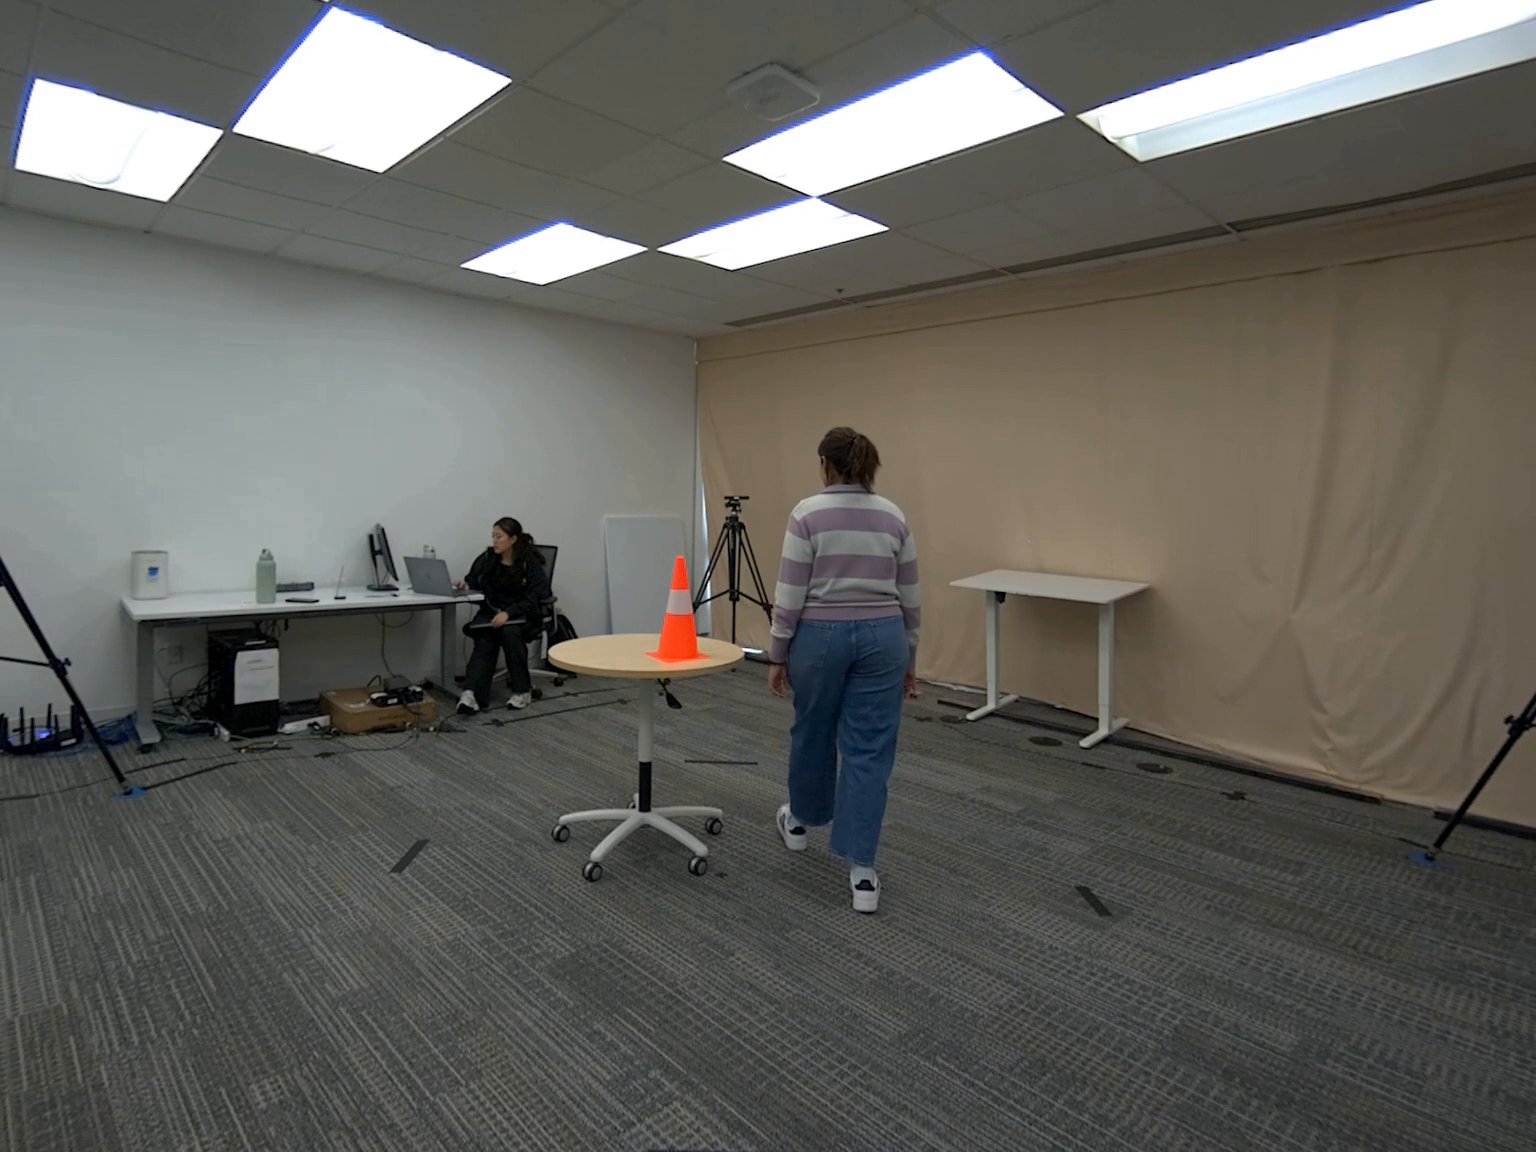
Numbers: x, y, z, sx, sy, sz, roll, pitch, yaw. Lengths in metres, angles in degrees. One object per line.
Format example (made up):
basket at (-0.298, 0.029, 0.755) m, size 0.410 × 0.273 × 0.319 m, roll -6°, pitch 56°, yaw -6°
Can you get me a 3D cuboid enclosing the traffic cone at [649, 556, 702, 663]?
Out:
traffic cone at (-0.336, 0.119, 3.205) m, size 0.208 × 0.383 × 0.200 m, roll 6°, pitch 5°, yaw 44°
